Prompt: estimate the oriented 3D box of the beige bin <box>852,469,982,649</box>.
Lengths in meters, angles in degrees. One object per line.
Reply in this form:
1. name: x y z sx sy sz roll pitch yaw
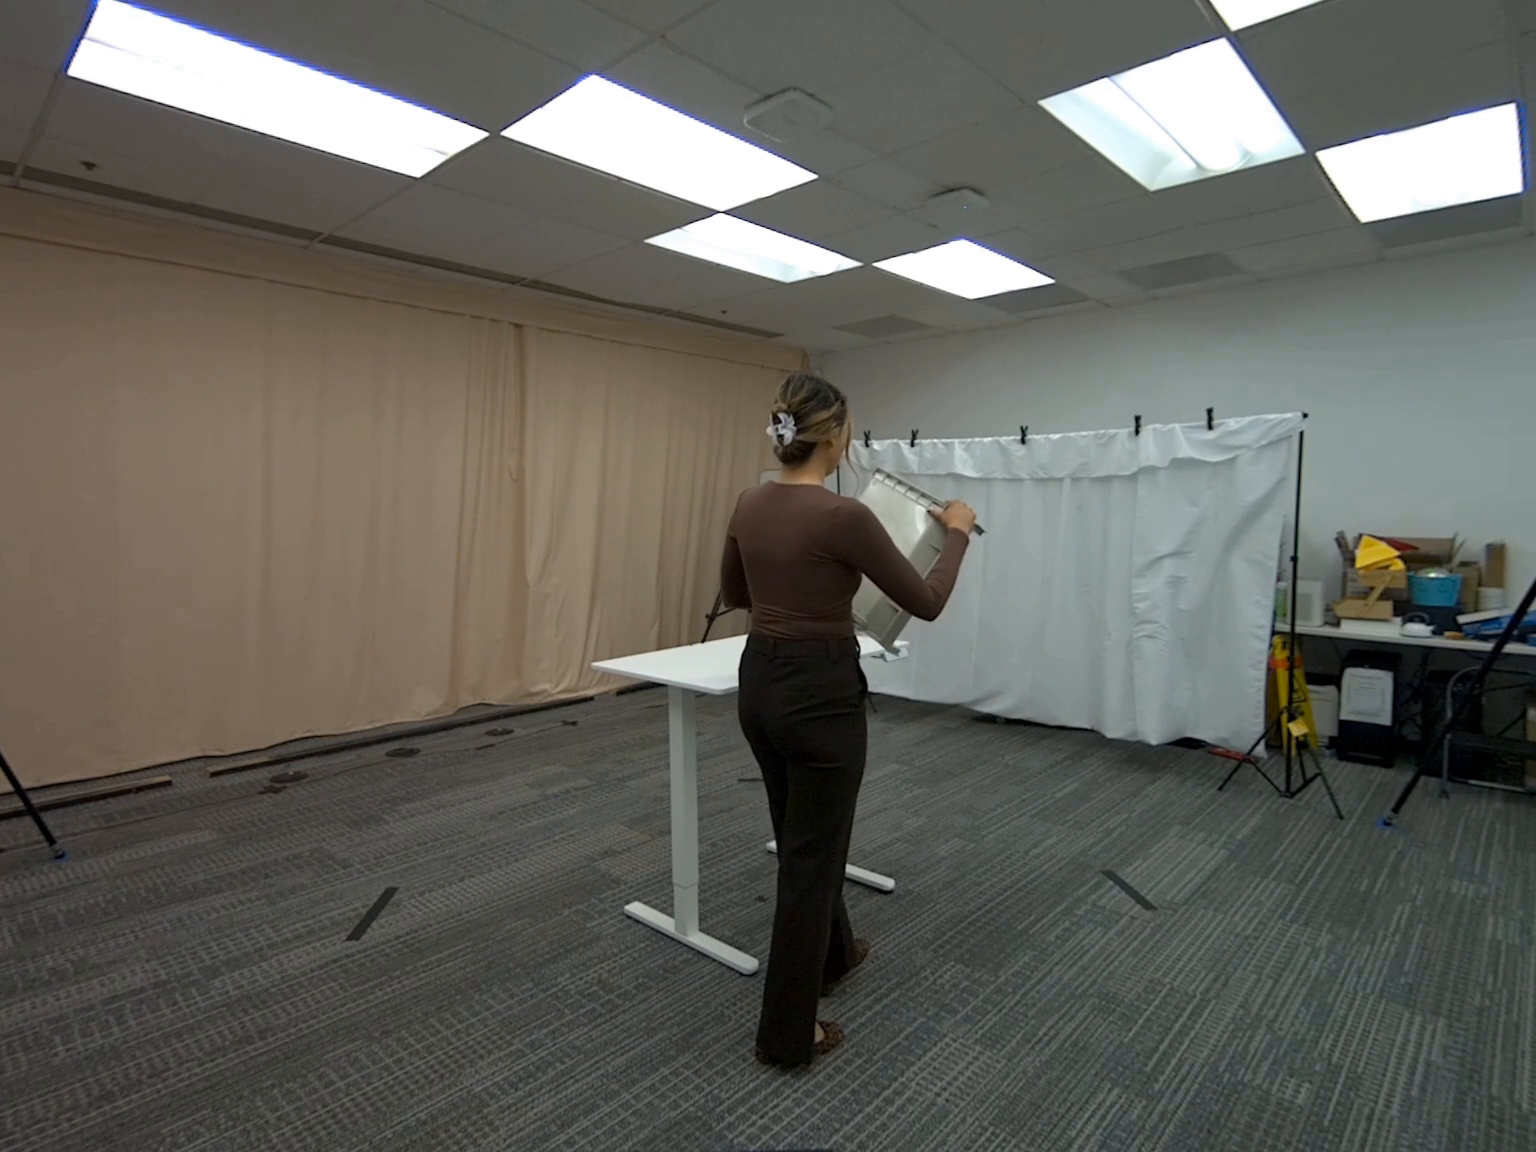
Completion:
1. beige bin: 0.362 -0.044 2.409 0.182 0.422 0.391 29 7 -39
